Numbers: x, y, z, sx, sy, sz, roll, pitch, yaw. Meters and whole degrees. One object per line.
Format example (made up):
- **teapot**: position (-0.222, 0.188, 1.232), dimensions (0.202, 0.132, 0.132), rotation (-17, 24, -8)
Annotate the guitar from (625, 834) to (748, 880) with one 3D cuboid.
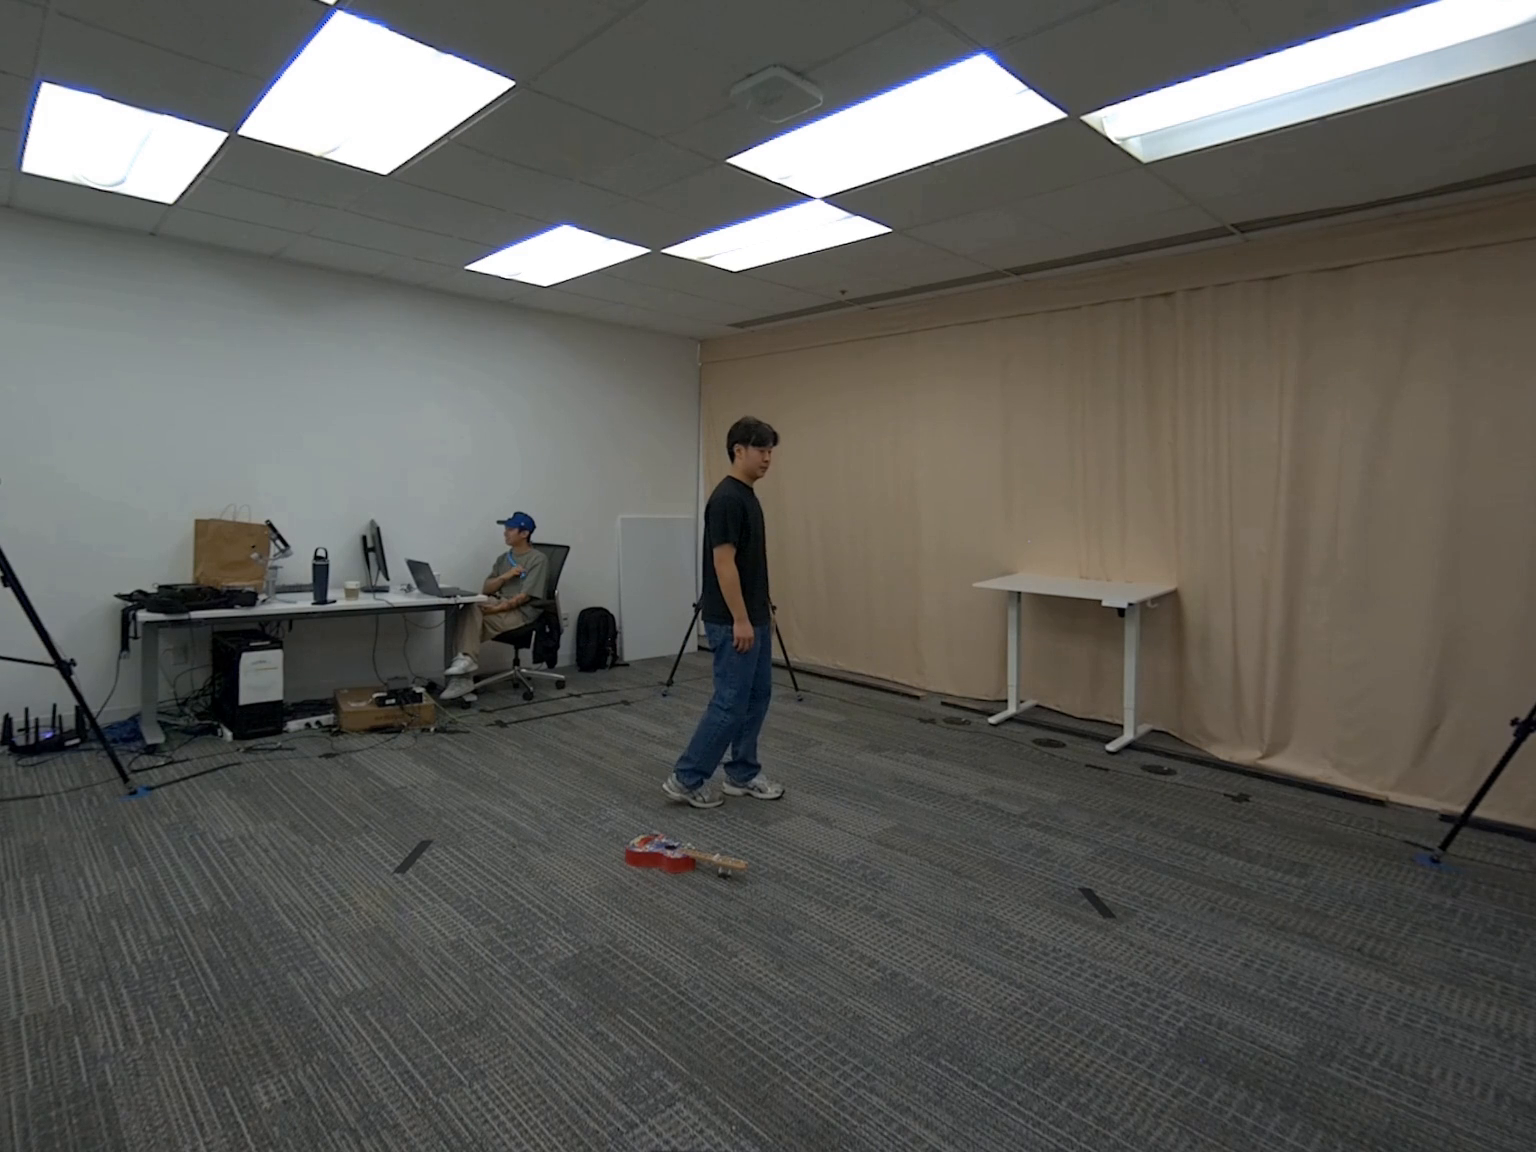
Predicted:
- **guitar**: position (-0.326, 1.064, 3.151), dimensions (0.510, 0.070, 0.189), rotation (4, 6, 35)
